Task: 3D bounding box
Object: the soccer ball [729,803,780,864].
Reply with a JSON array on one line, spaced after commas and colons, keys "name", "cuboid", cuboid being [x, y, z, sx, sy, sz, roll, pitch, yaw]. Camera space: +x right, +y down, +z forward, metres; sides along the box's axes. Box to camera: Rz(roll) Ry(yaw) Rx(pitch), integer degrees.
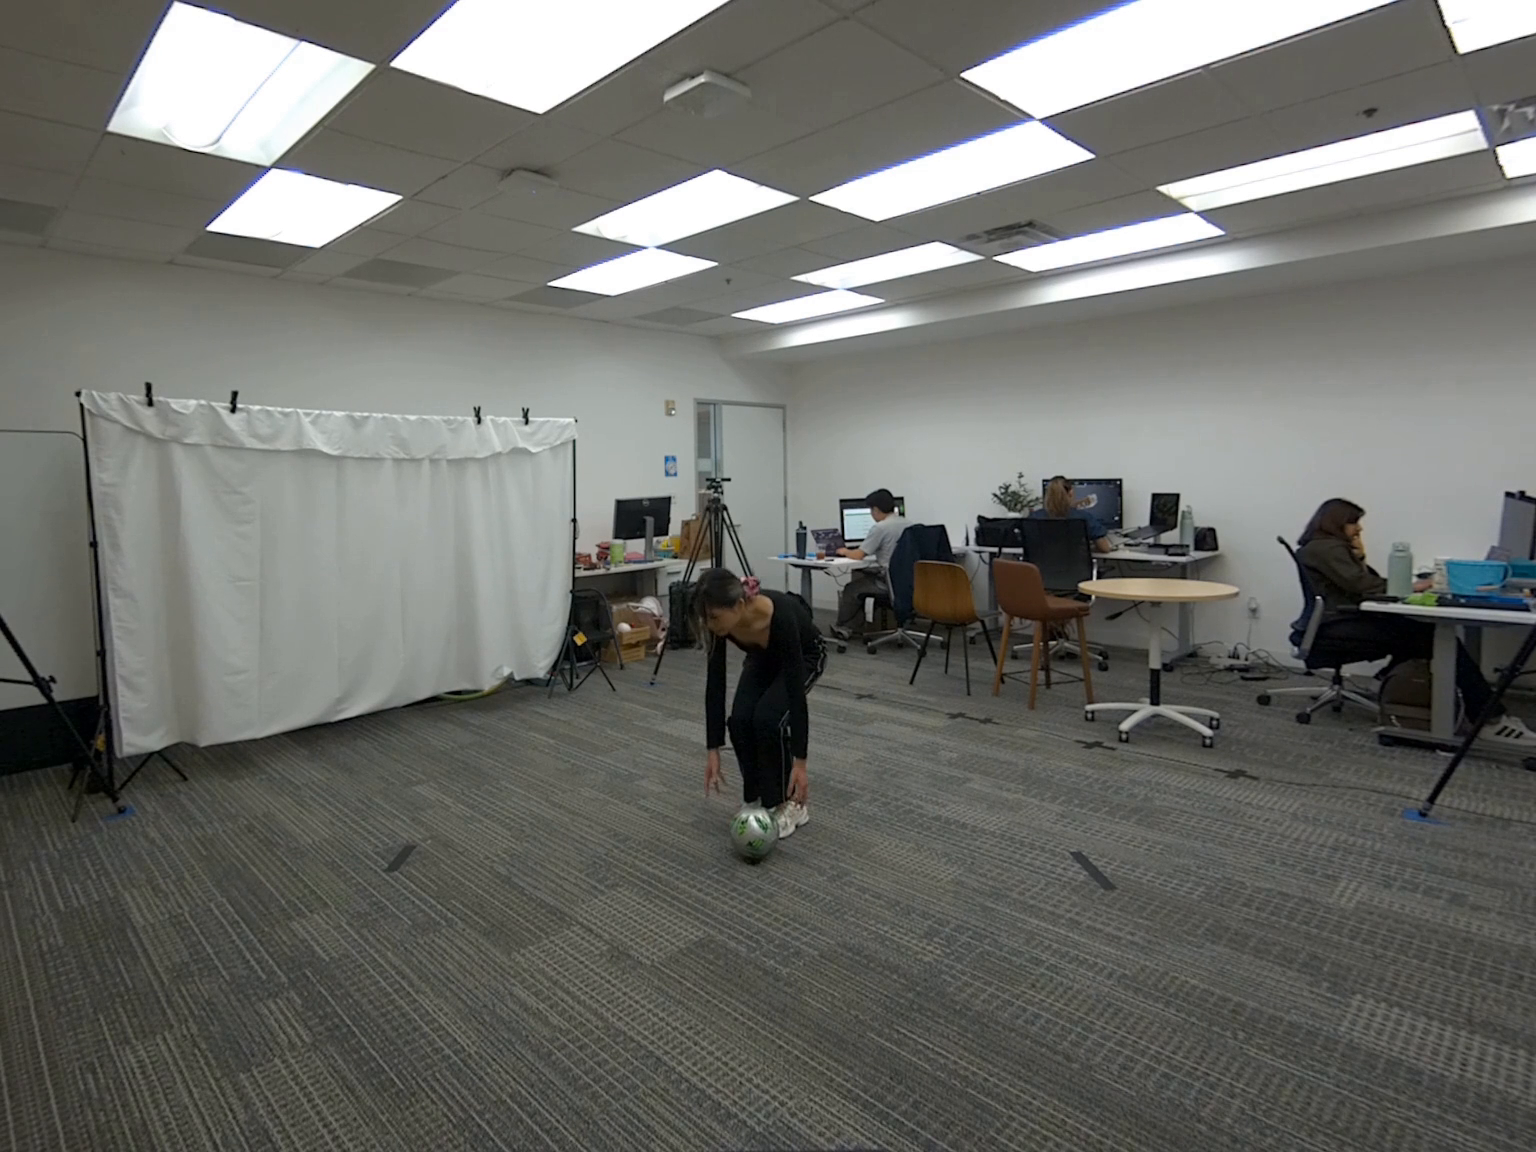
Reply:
[{"name": "soccer ball", "cuboid": [-0.050, 0.950, 3.149, 0.187, 0.187, 0.188, -1, 5, -2]}]
